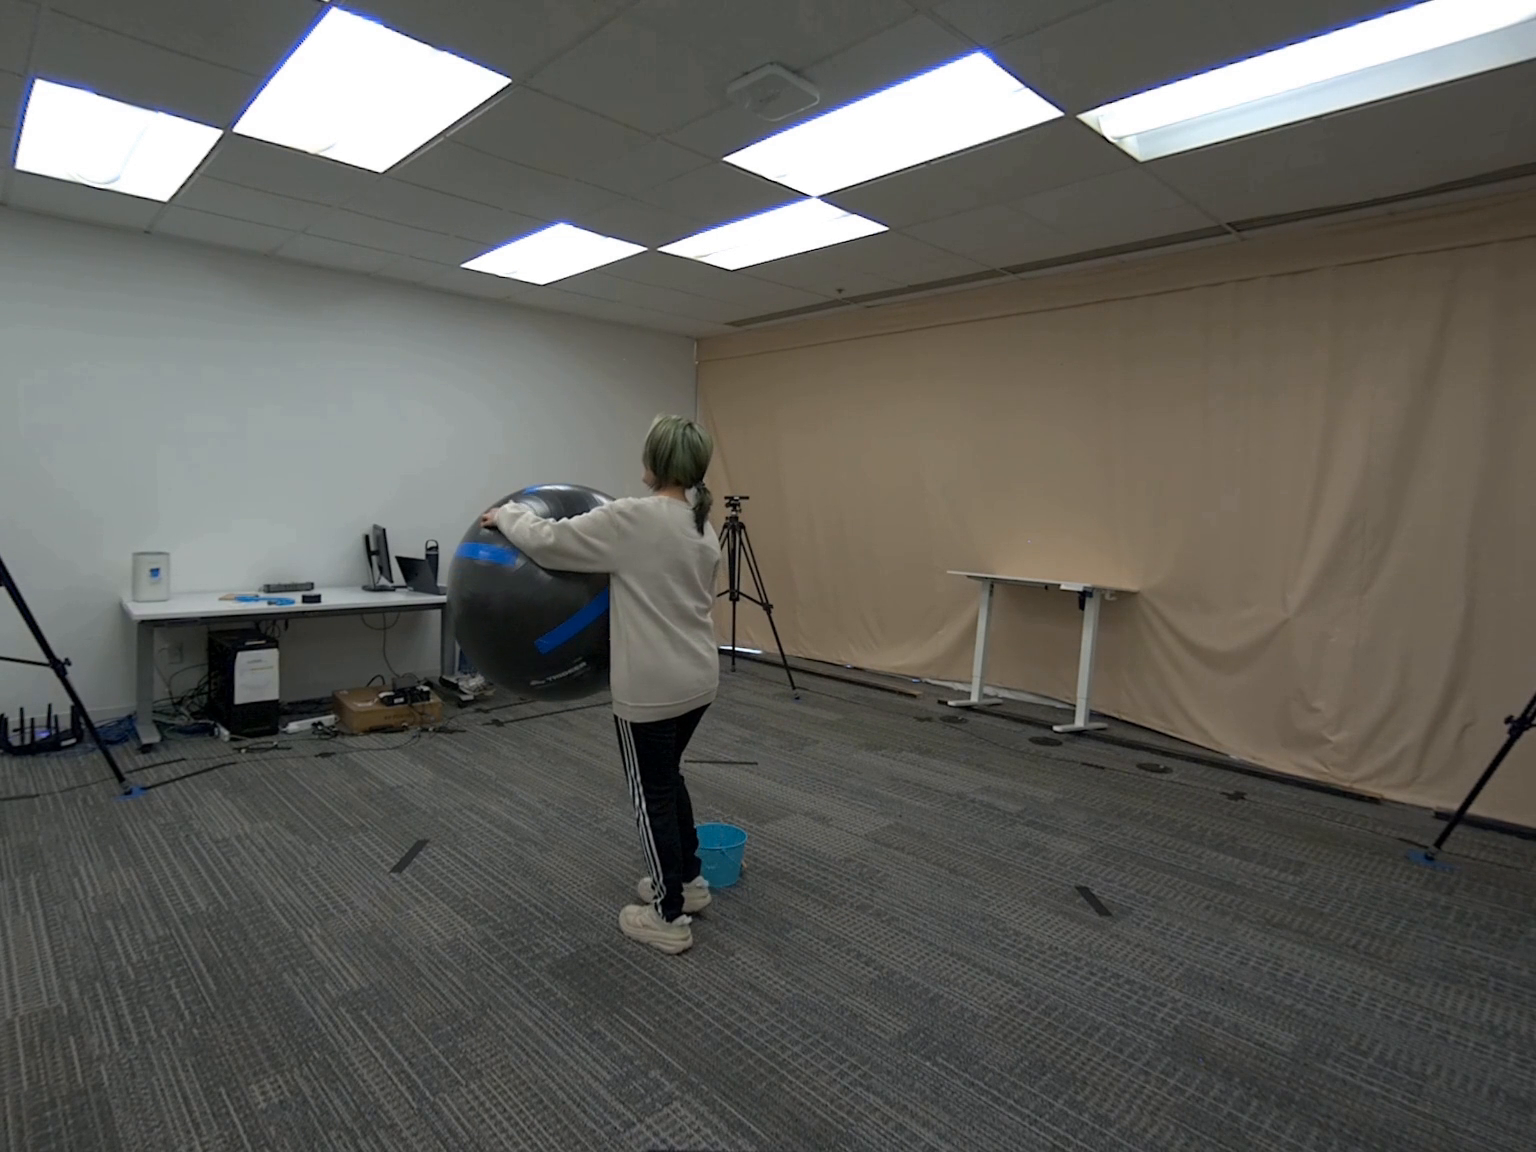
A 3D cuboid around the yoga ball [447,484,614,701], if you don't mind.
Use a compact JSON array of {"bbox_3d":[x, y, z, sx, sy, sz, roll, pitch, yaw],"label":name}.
[{"bbox_3d":[-0.738,0.066,2.955,0.757,0.756,0.761,1,4,-1],"label":"yoga ball"}]
